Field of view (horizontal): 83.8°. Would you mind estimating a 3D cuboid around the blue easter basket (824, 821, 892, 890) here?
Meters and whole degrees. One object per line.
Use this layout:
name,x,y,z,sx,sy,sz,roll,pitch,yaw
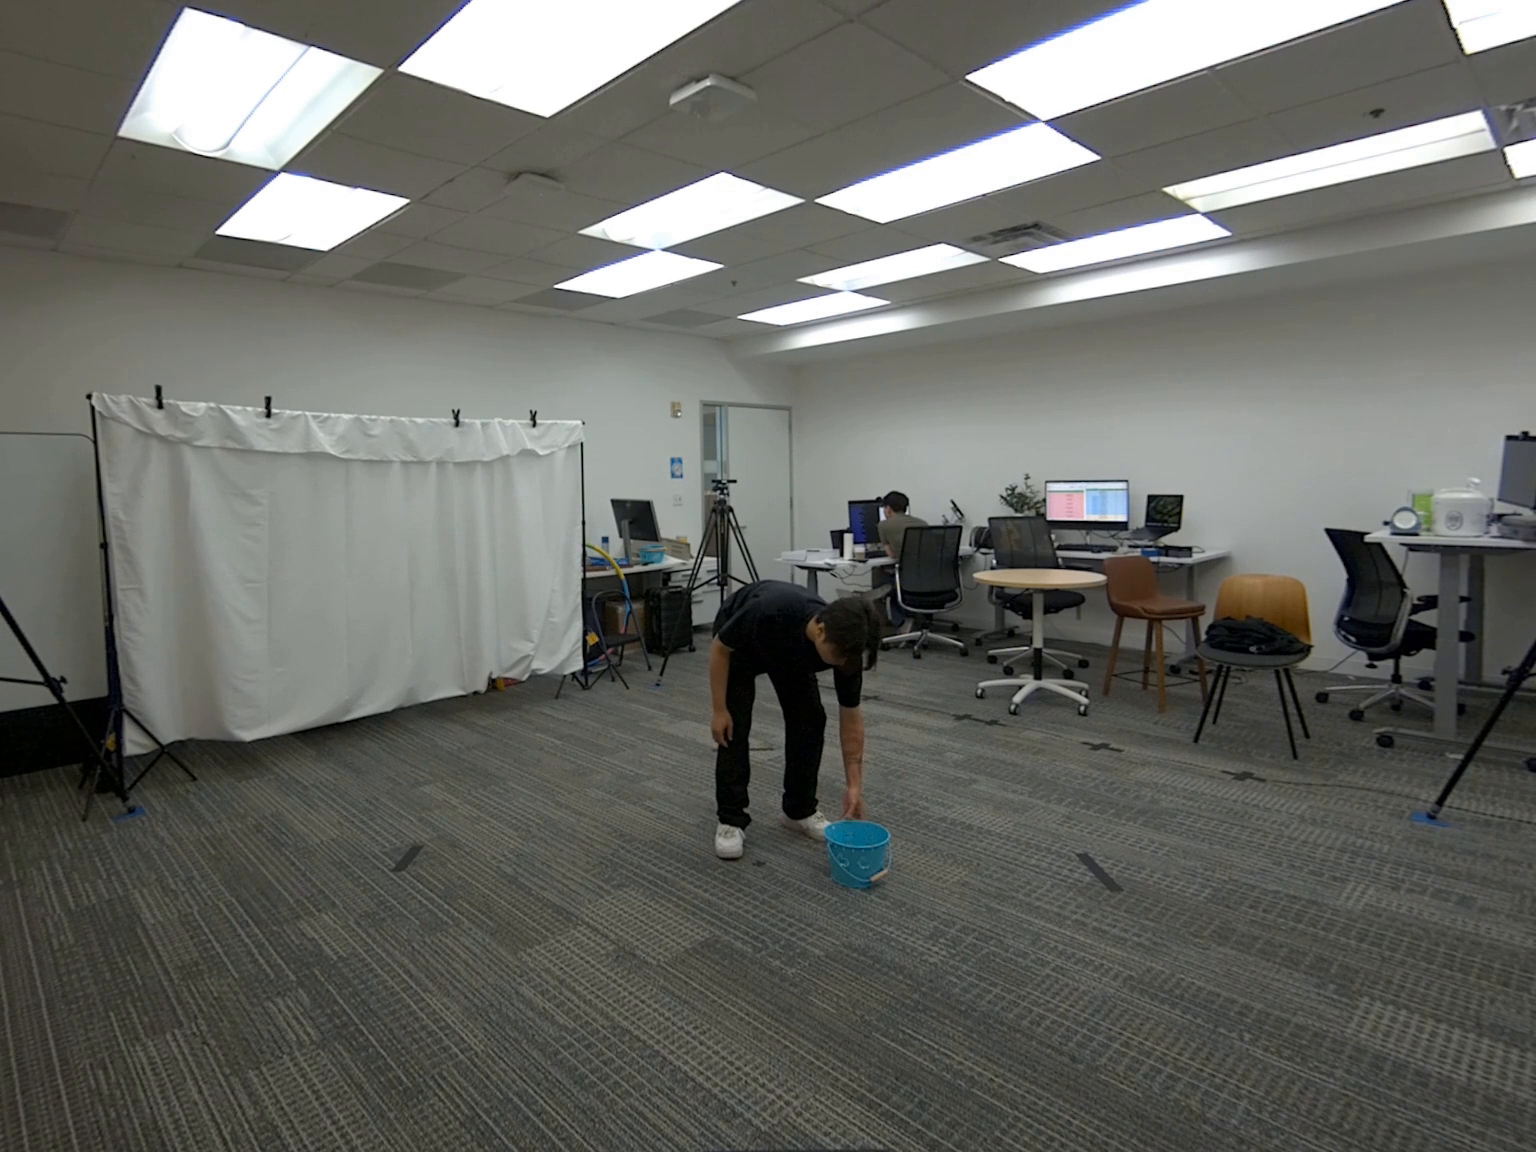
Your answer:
blue easter basket,0.315,0.978,2.993,0.243,0.155,0.245,-2,6,-1
